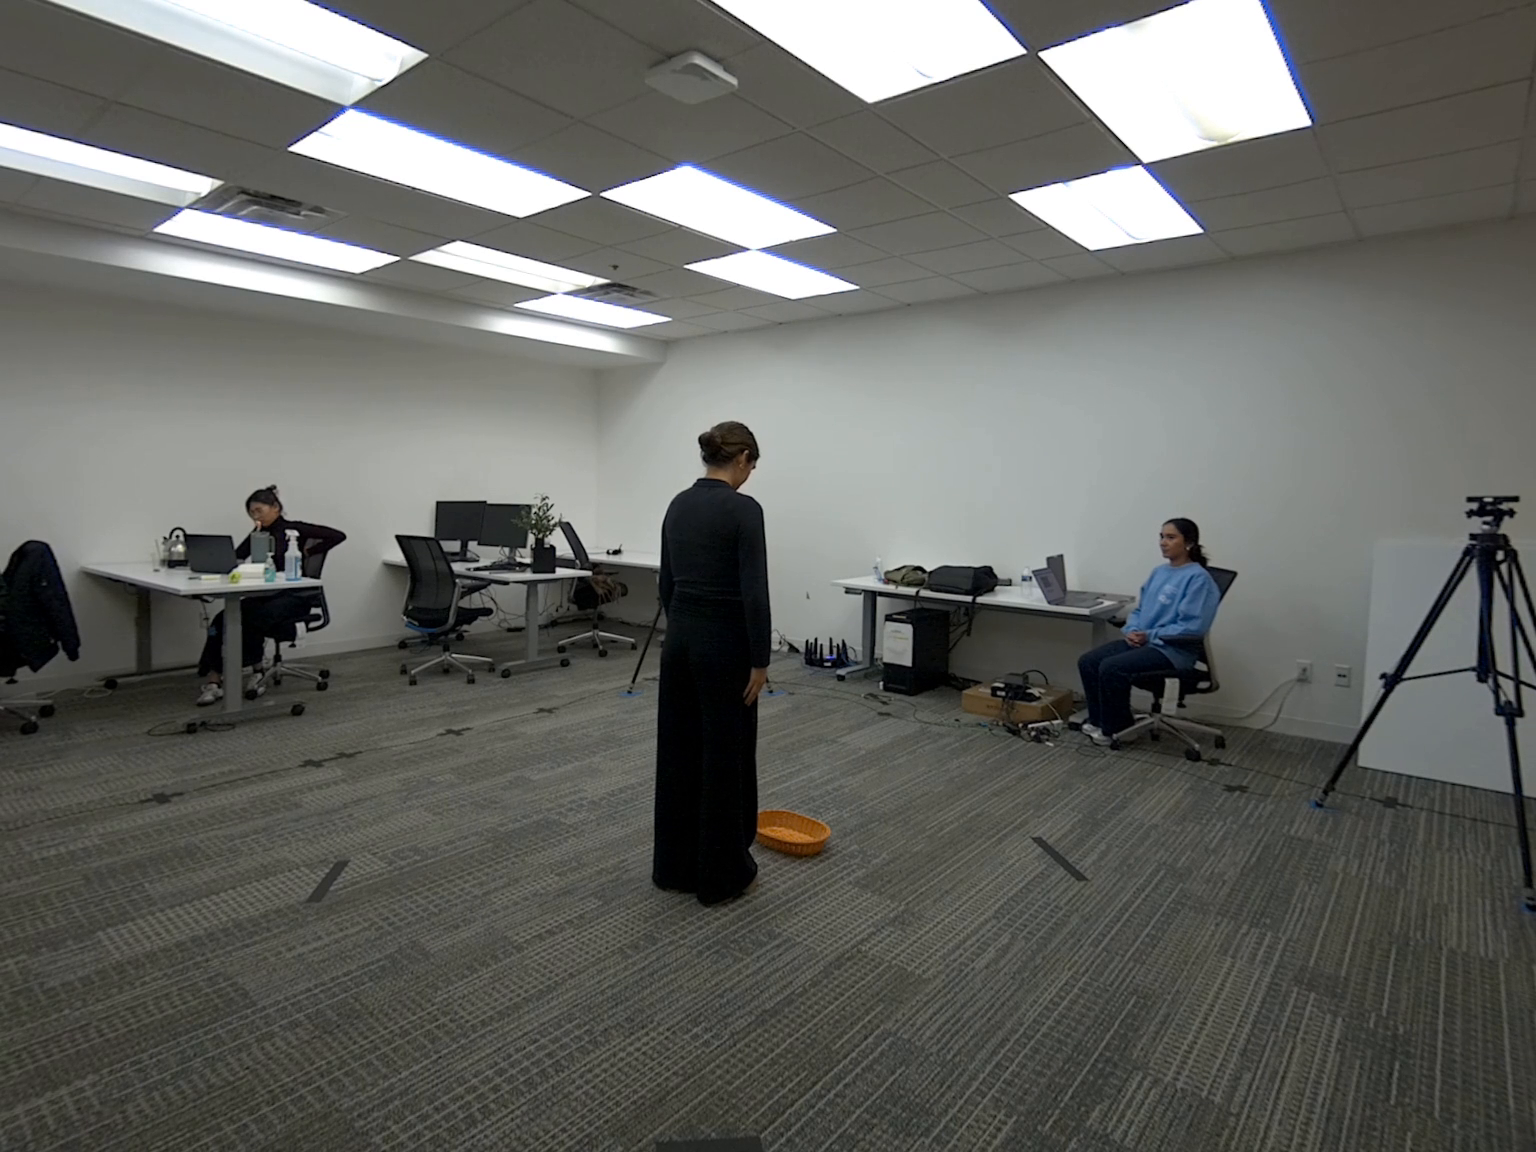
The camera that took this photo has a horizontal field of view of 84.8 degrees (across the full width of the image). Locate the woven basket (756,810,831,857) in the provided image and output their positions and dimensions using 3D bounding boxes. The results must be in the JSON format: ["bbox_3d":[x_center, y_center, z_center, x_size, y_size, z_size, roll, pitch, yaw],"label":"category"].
[{"bbox_3d":[0.072,1.007,3.344,0.362,0.073,0.245,6,8,42],"label":"woven basket"}]
